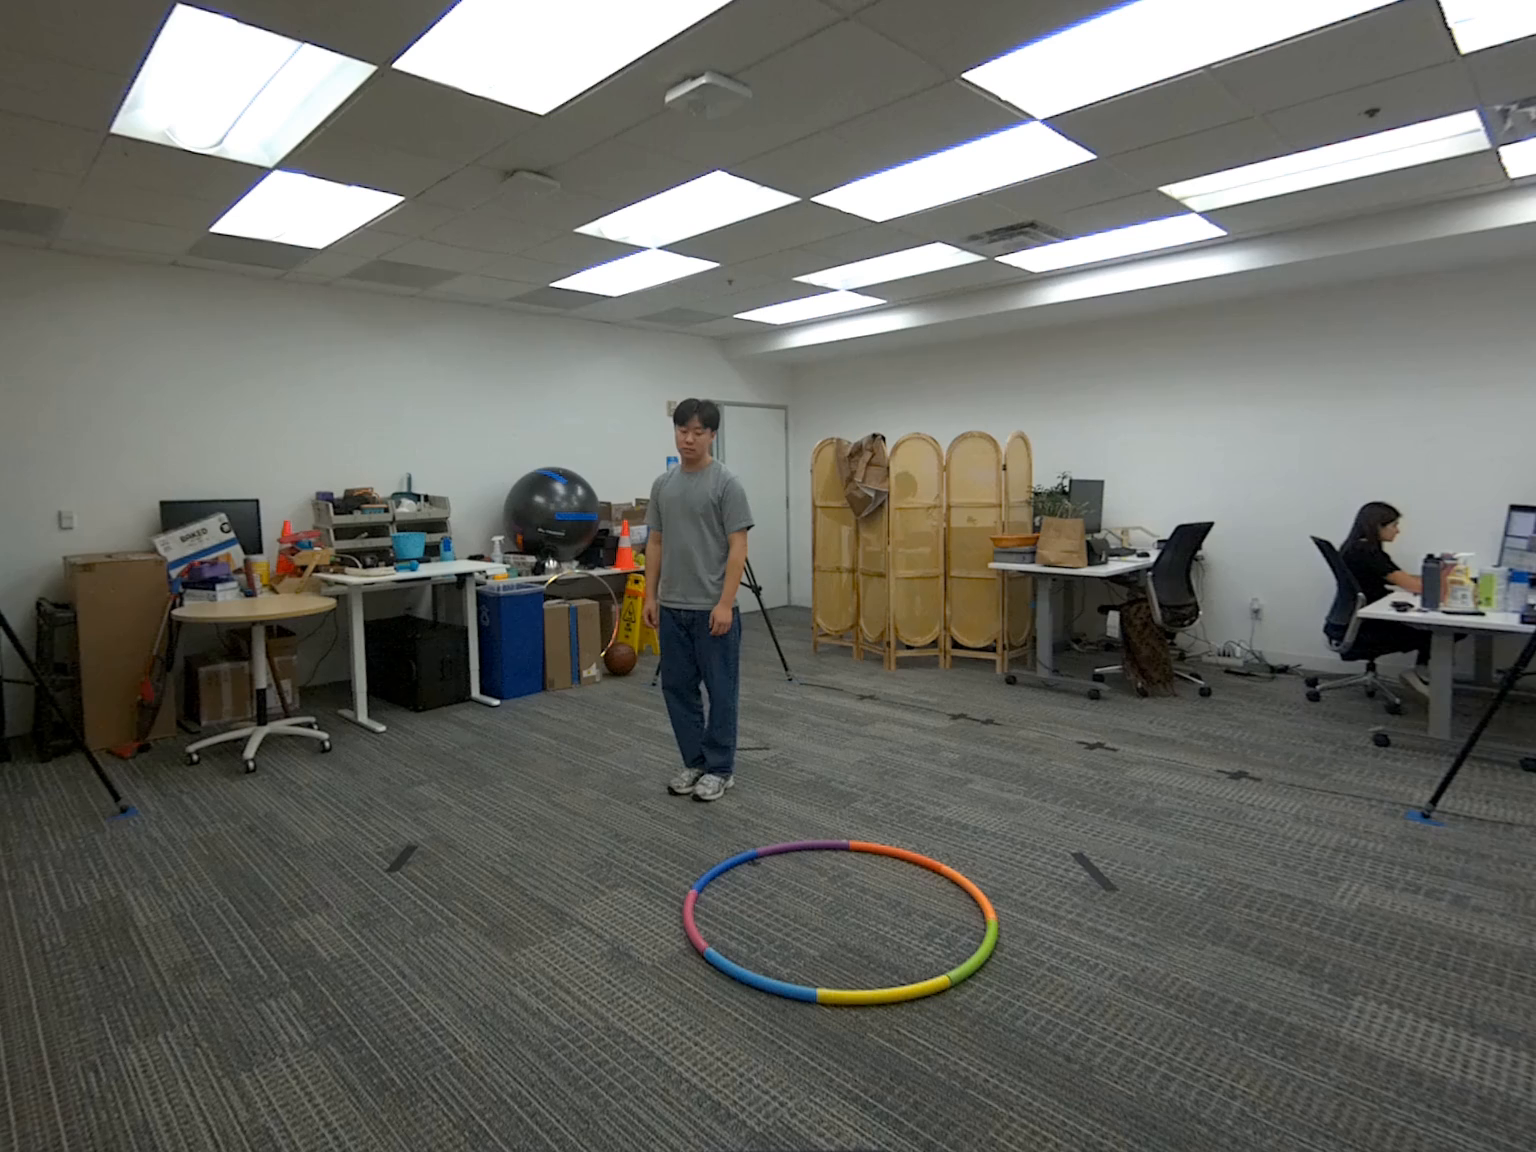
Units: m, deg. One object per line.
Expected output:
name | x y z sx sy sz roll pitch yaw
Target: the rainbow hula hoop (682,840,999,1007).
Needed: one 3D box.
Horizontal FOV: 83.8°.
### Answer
rainbow hula hoop | 0.218 1.054 2.743 0.978 0.035 0.984 -1 6 -2
